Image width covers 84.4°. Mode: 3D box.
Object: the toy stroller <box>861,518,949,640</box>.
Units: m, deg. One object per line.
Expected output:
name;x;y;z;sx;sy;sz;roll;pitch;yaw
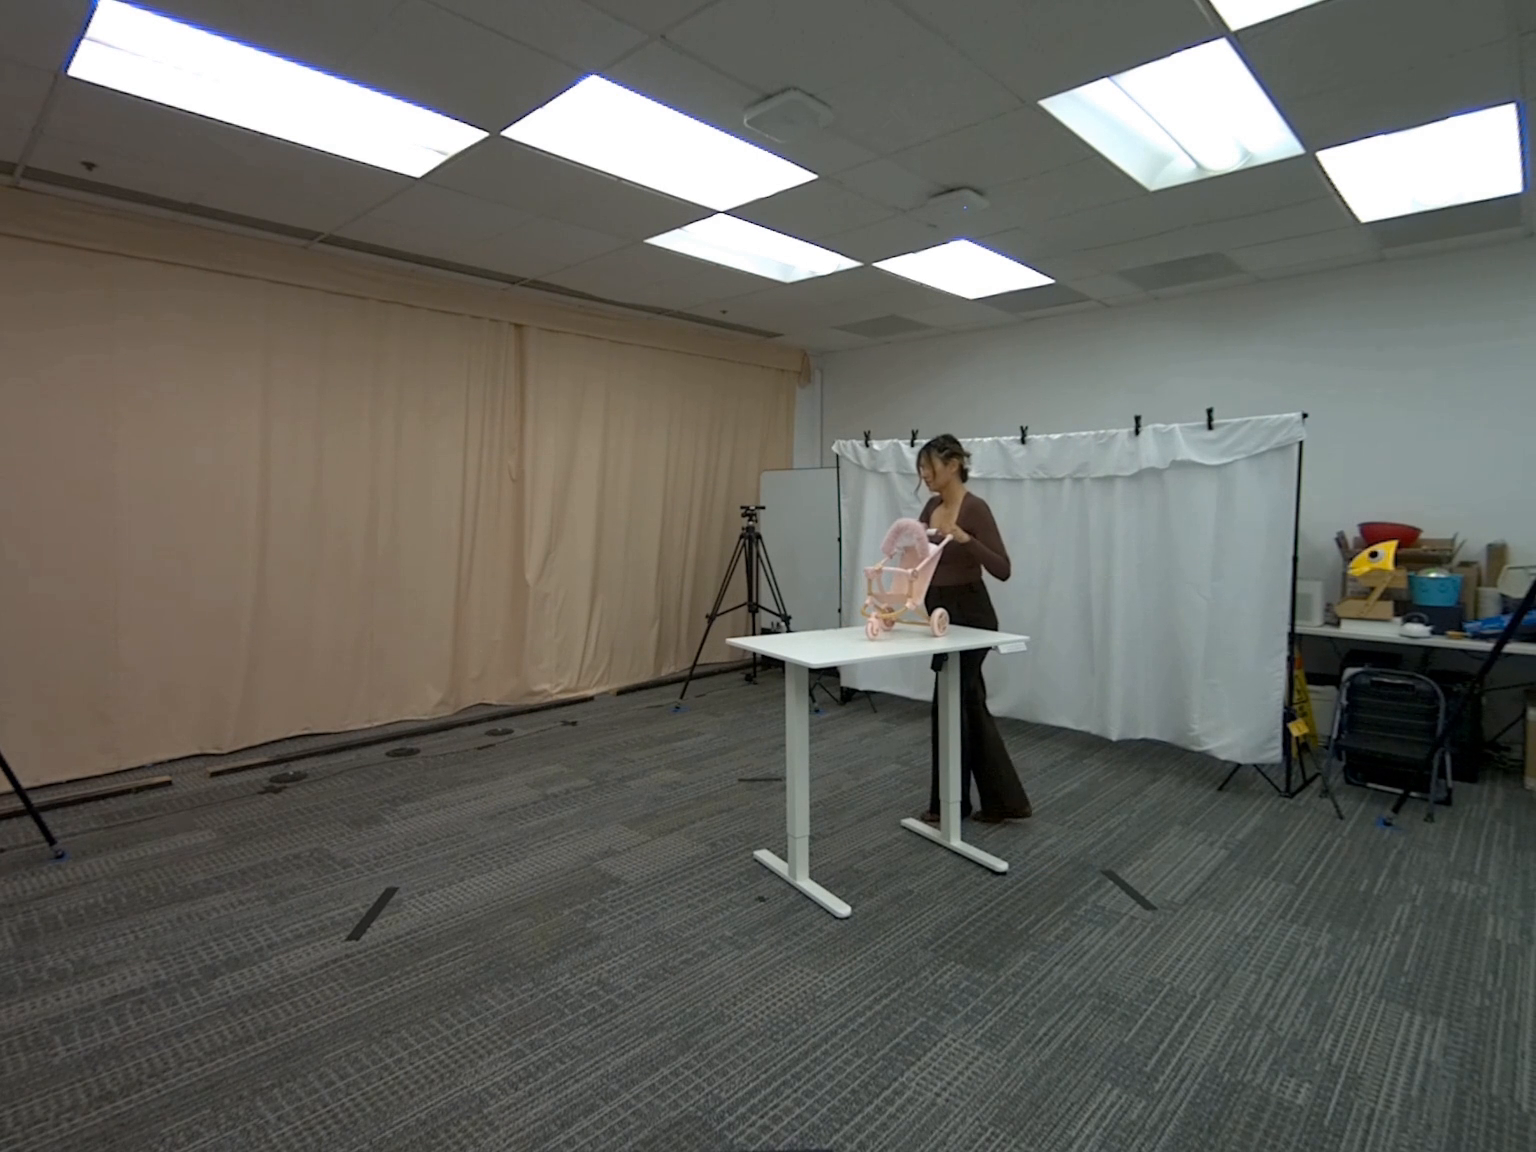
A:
toy stroller;0.535;0.011;3.300;0.329;0.537;0.290;20;-13;-39
